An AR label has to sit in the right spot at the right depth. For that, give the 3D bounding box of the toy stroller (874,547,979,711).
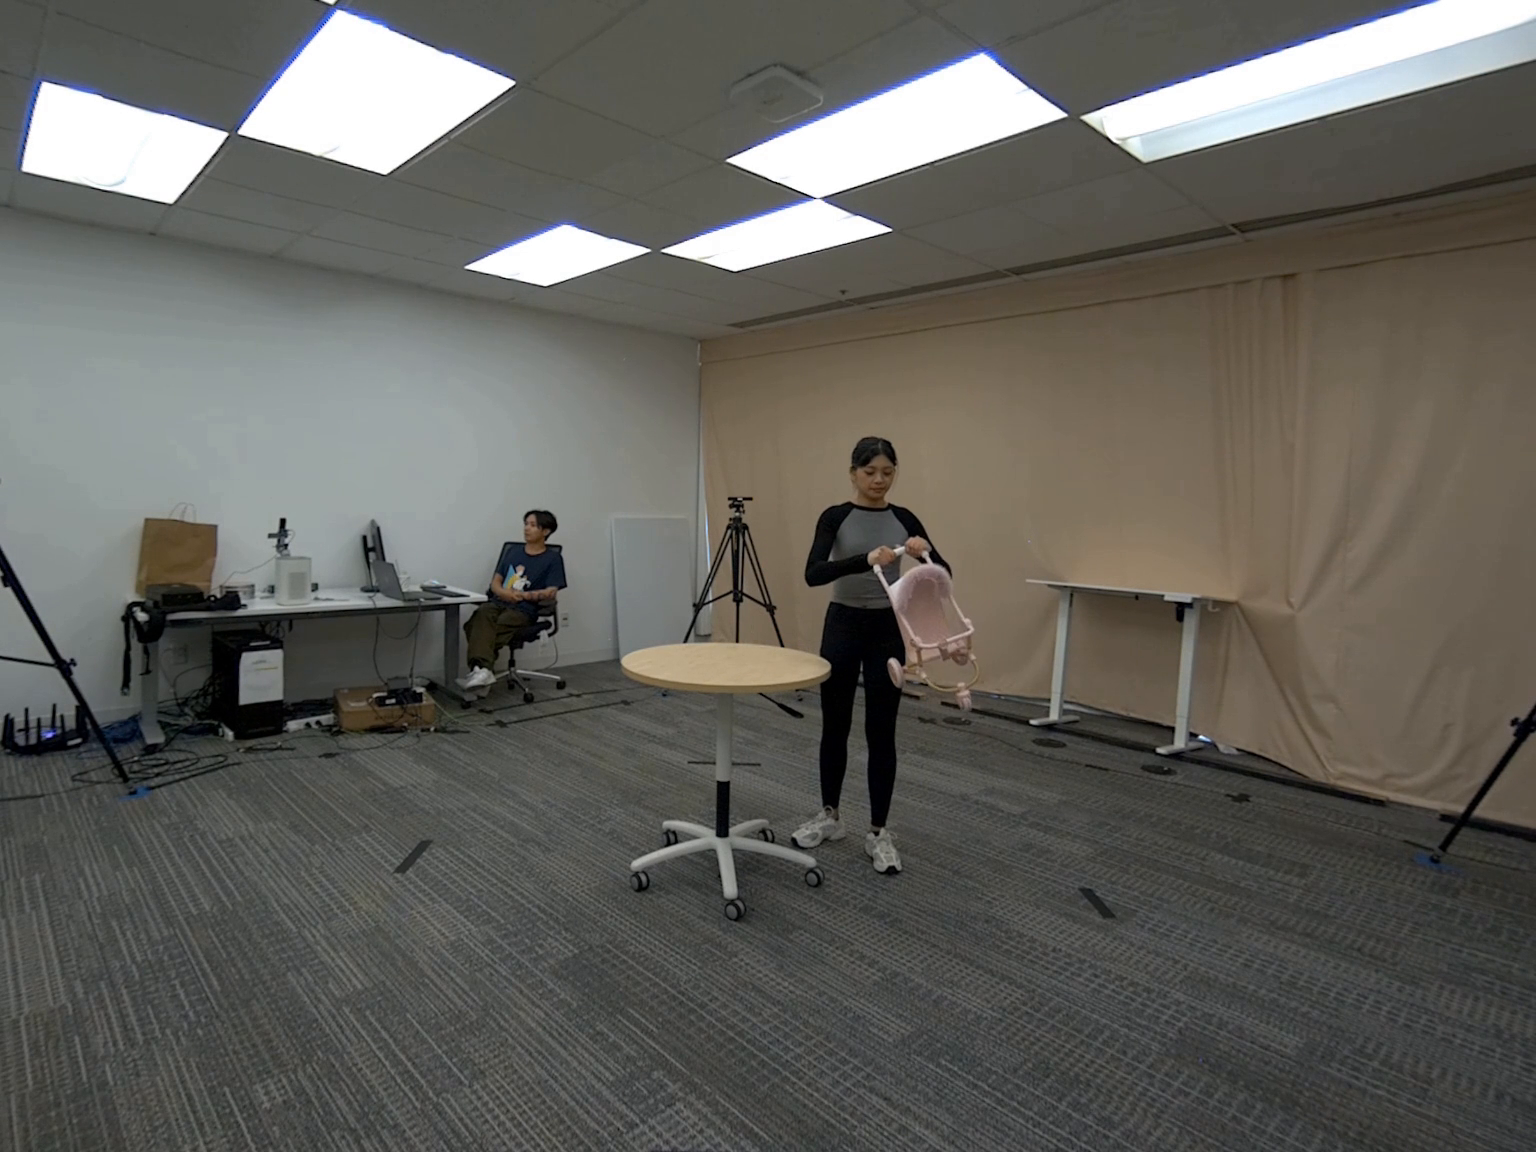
[{"bbox_3d":[0.551,0.179,2.889,0.280,0.530,0.346,-16,11,-9],"label":"toy stroller"}]
